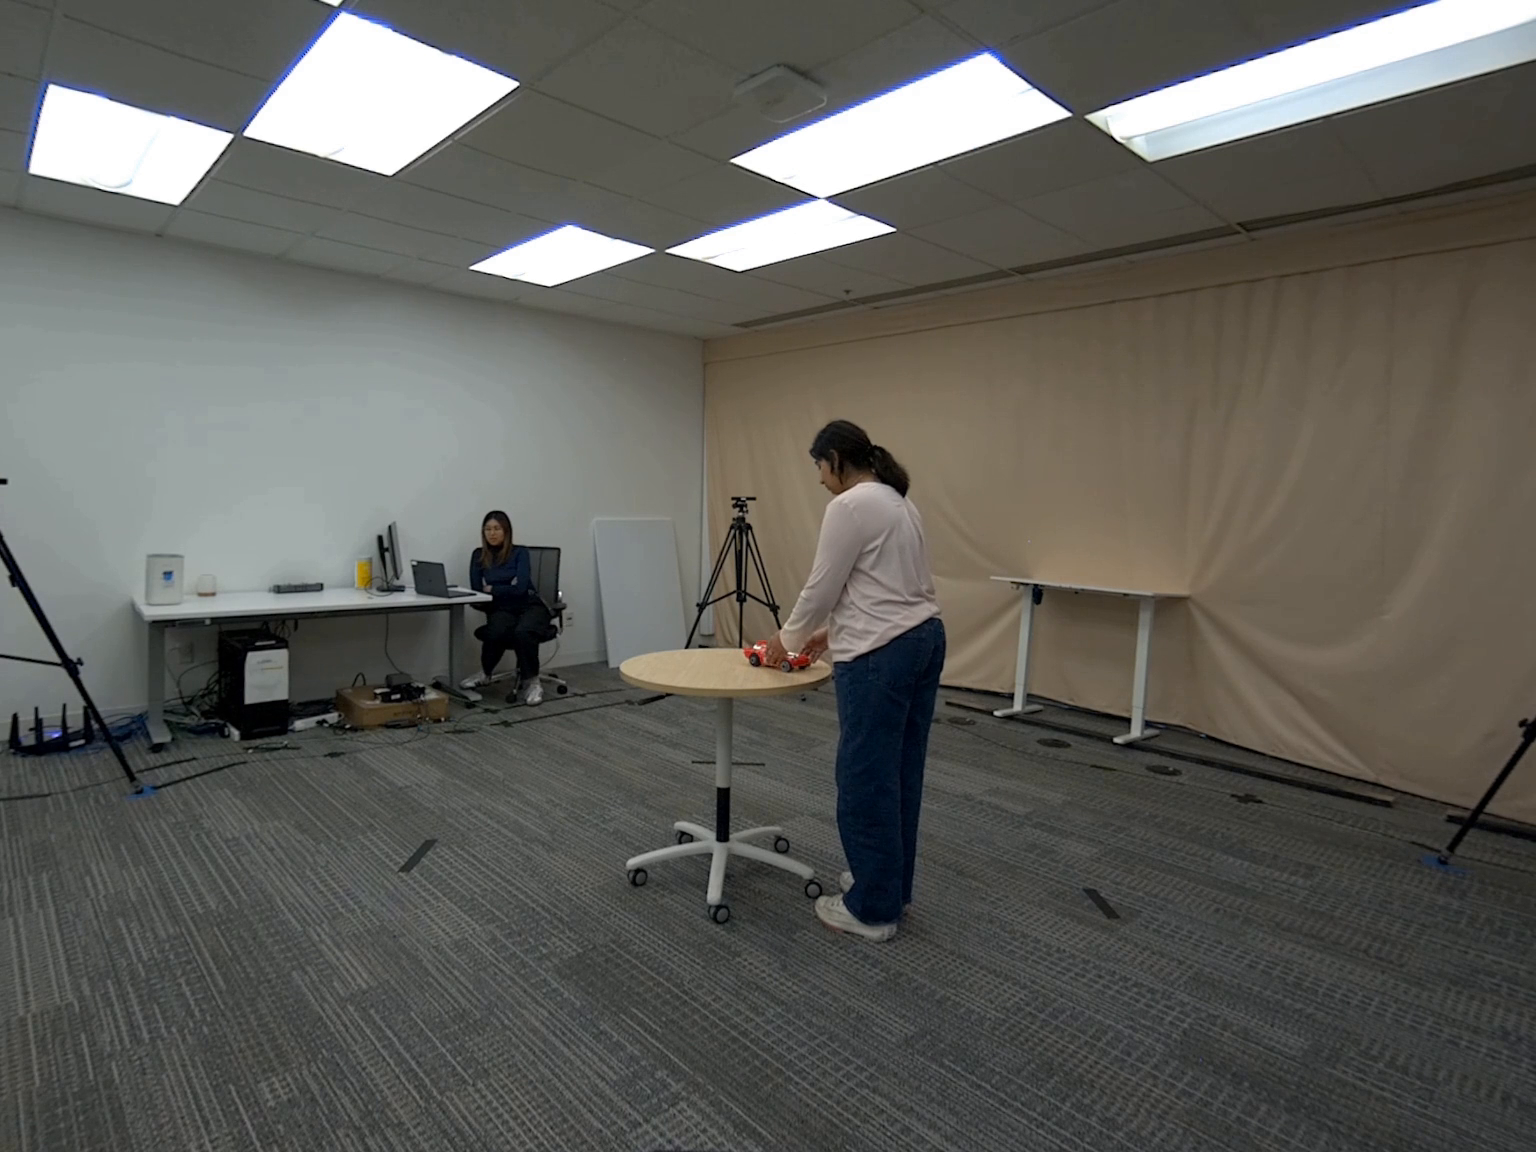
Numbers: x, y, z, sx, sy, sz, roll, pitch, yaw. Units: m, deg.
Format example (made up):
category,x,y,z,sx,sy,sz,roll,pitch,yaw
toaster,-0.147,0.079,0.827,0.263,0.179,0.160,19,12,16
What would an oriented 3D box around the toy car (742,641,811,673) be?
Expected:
category,x,y,z,sx,sy,sz,roll,pitch,yaw
toy car,0.006,0.300,3.061,0.262,0.082,0.127,20,15,39
